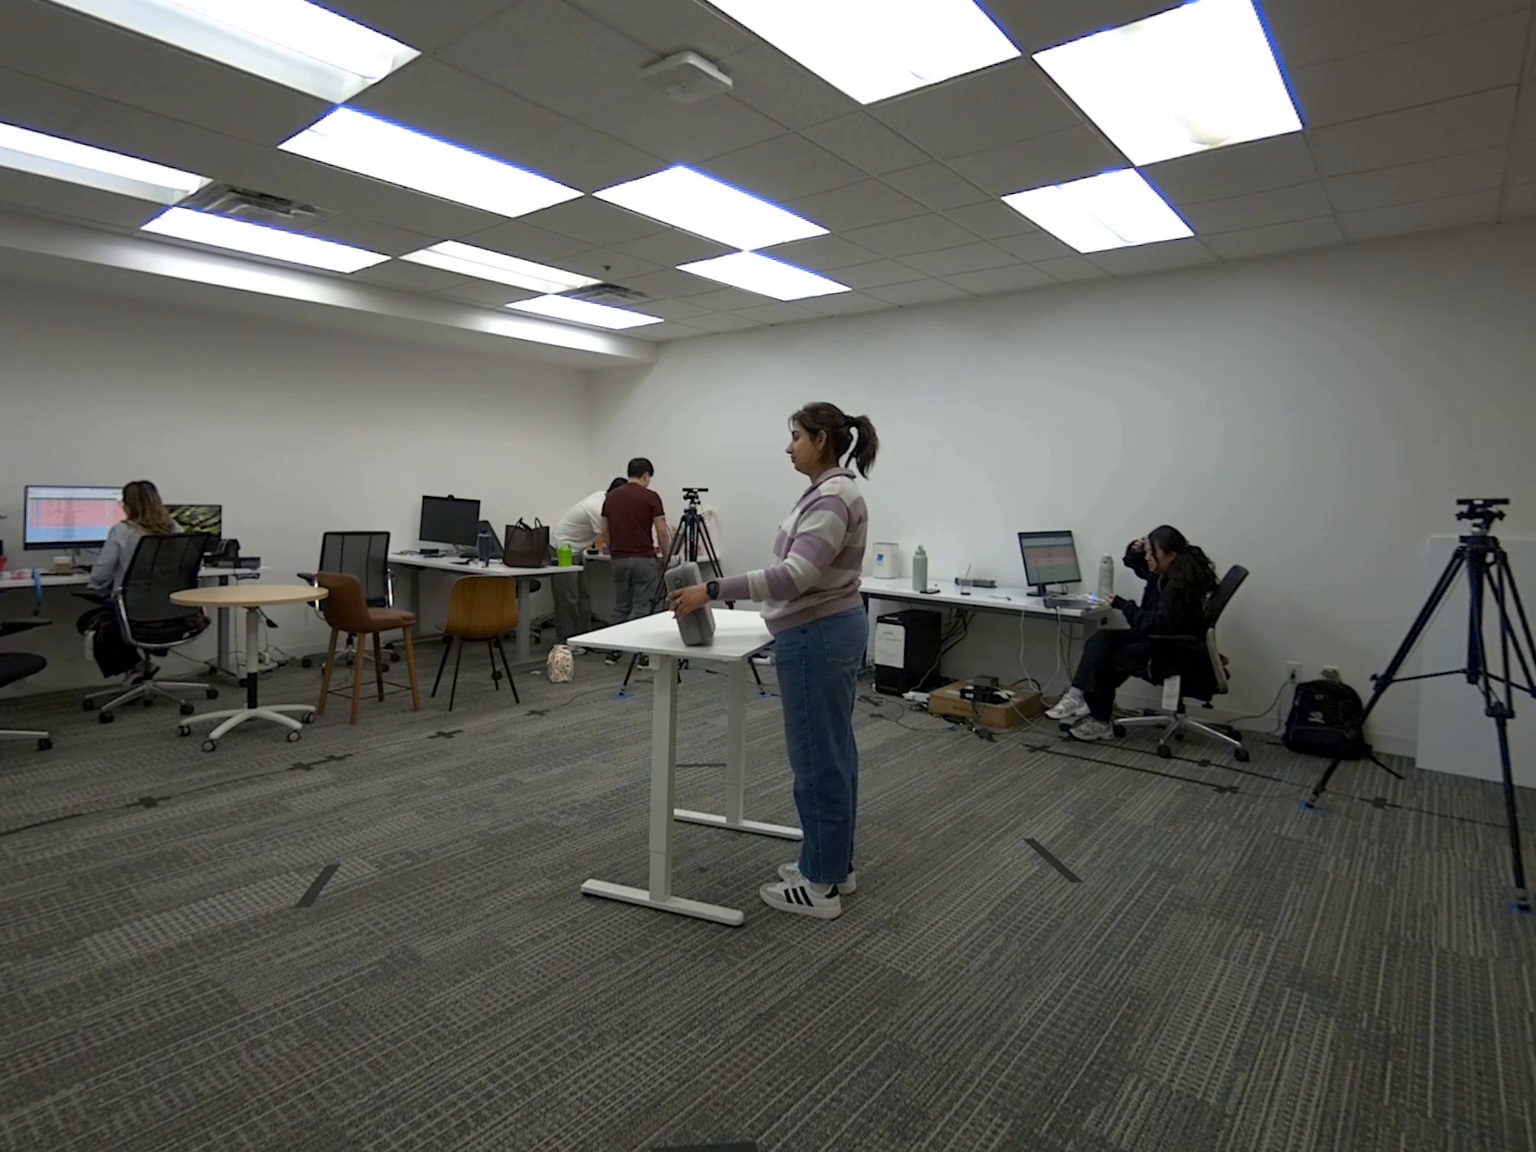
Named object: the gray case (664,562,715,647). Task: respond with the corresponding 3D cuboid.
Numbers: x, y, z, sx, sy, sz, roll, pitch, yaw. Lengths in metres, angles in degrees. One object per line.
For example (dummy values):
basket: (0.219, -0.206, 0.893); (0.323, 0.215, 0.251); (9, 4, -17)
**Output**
gray case: (-0.268, 0.084, 2.813); (0.104, 0.260, 0.257); (-16, 2, 1)
